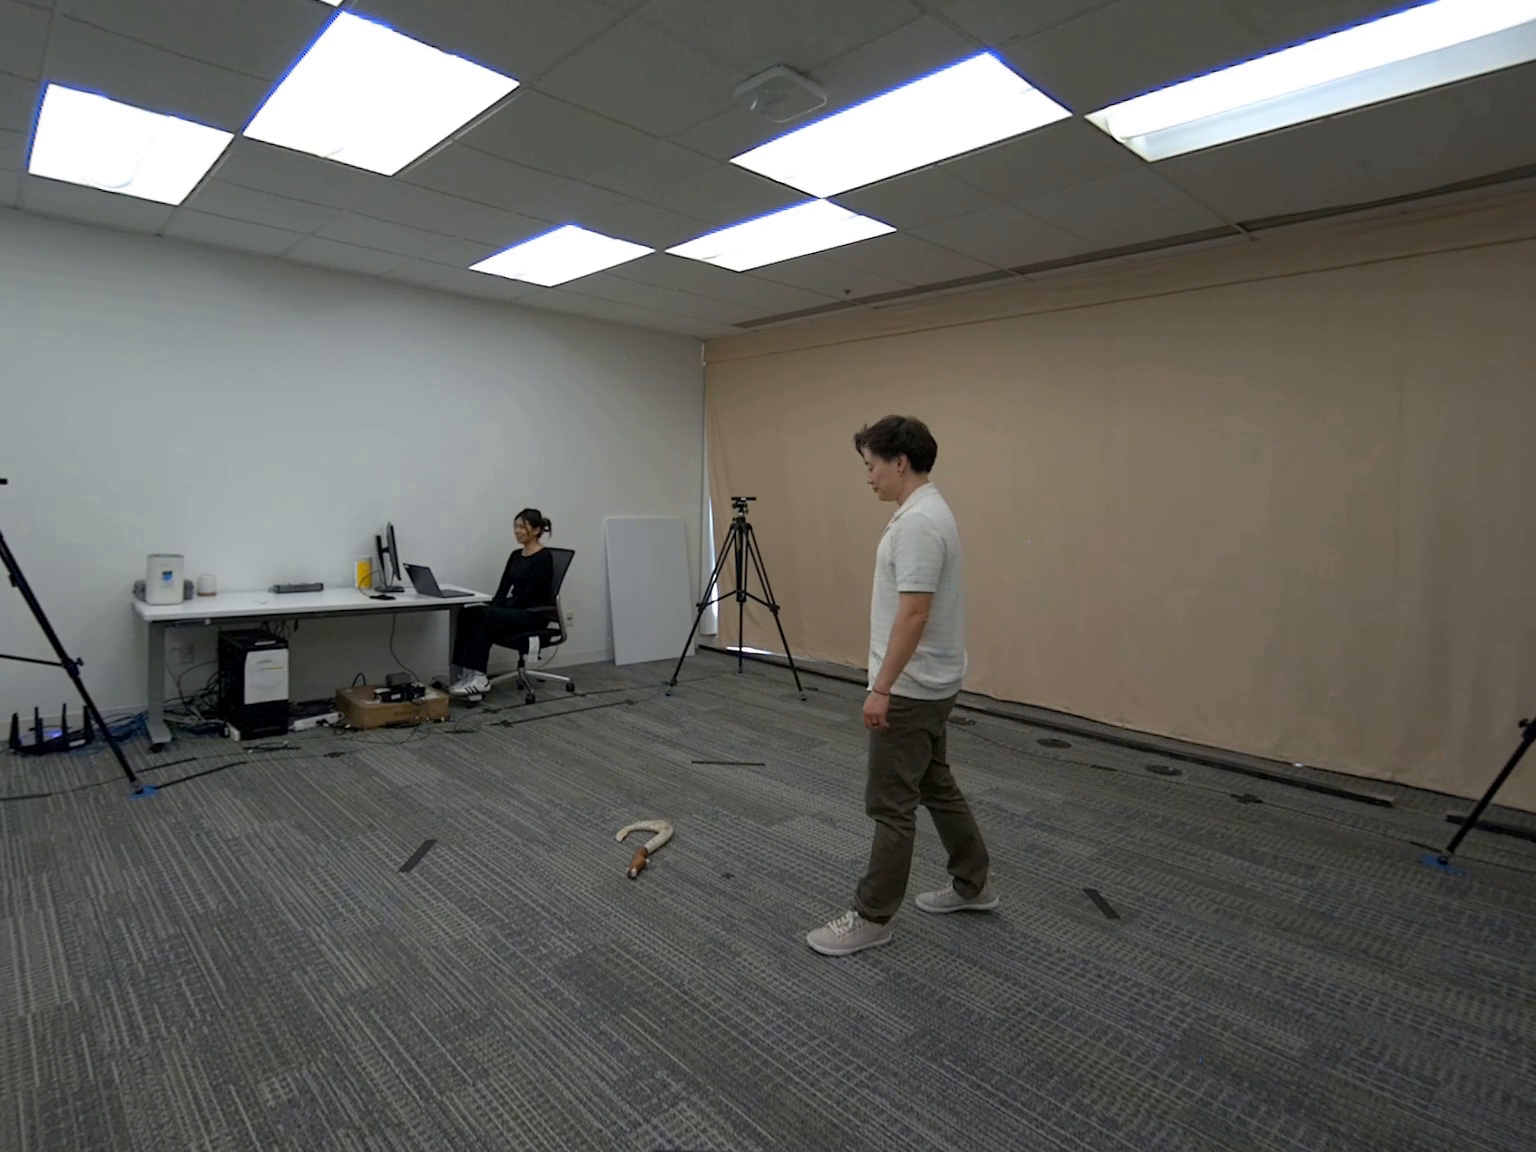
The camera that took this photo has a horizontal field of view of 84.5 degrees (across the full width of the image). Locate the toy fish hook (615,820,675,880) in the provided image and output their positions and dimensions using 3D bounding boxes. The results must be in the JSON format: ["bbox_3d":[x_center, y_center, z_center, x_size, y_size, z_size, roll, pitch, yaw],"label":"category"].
[{"bbox_3d":[-0.523,1.062,3.299,0.226,0.048,0.504,-6,3,8],"label":"toy fish hook"}]
